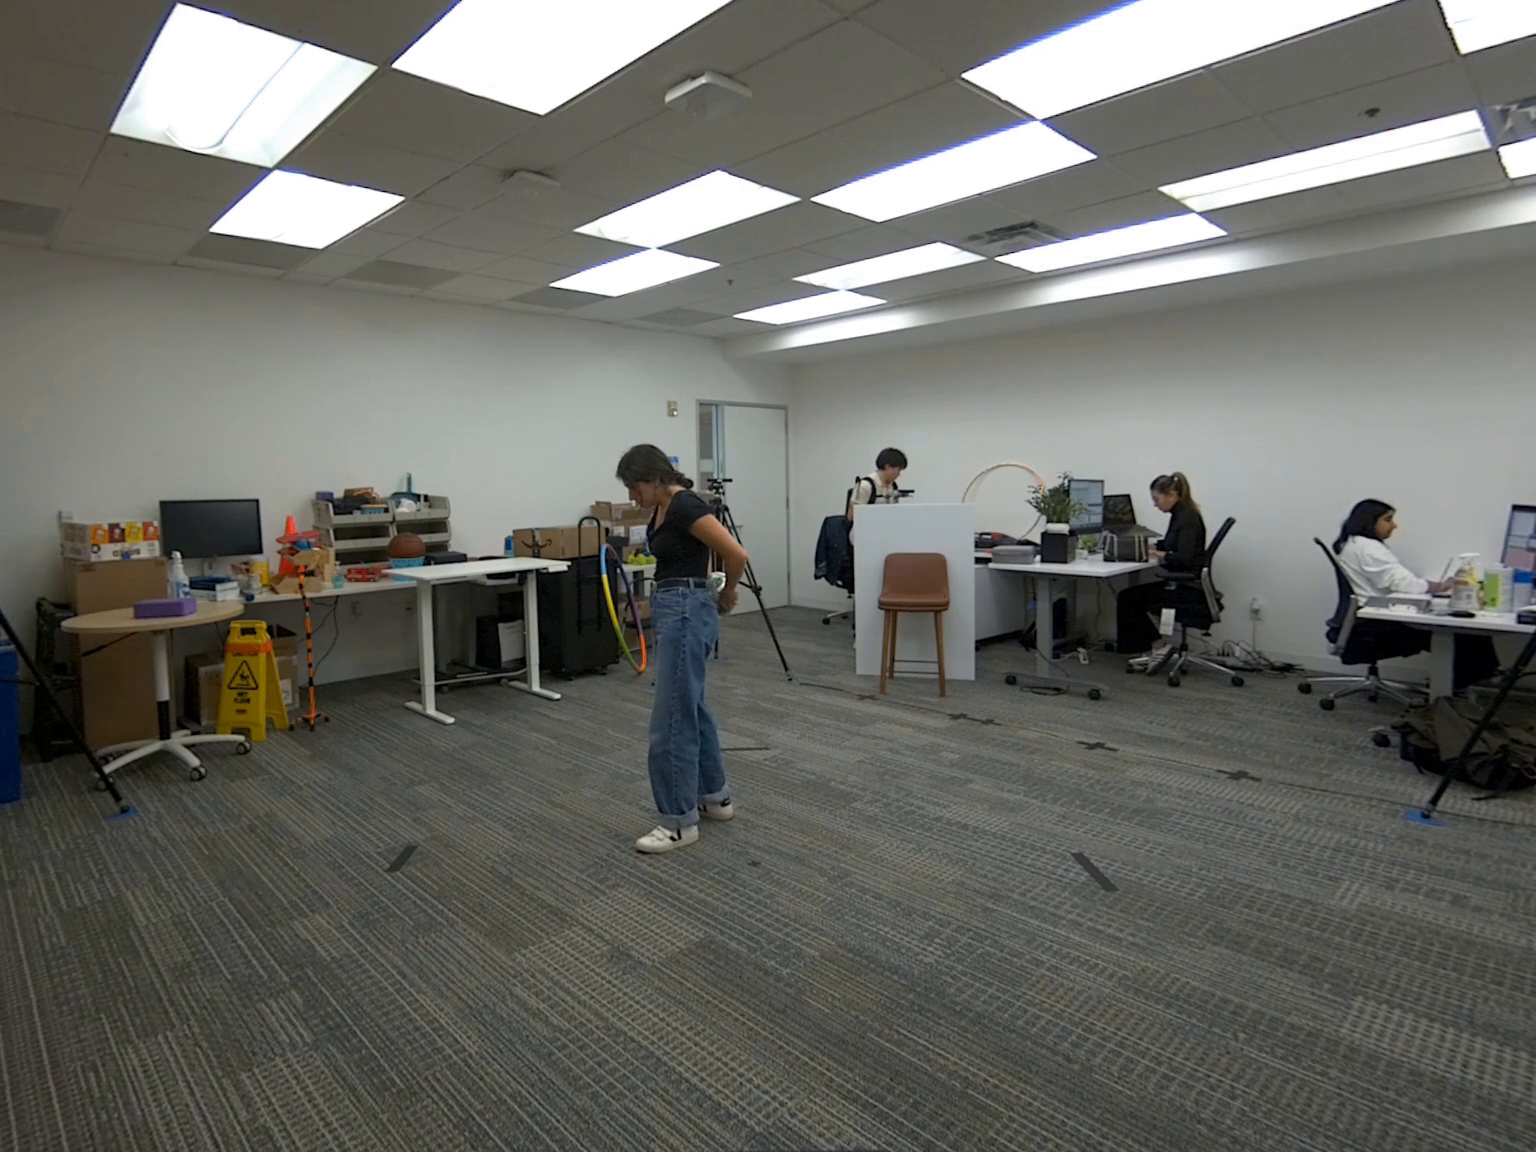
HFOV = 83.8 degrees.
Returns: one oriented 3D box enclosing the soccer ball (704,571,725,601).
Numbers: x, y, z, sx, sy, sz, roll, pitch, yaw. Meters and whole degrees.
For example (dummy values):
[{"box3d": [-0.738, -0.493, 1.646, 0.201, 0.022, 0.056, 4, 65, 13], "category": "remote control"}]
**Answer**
[{"box3d": [-0.220, 0.069, 3.613, 0.187, 0.187, 0.188, -1, 5, -2], "category": "soccer ball"}]
